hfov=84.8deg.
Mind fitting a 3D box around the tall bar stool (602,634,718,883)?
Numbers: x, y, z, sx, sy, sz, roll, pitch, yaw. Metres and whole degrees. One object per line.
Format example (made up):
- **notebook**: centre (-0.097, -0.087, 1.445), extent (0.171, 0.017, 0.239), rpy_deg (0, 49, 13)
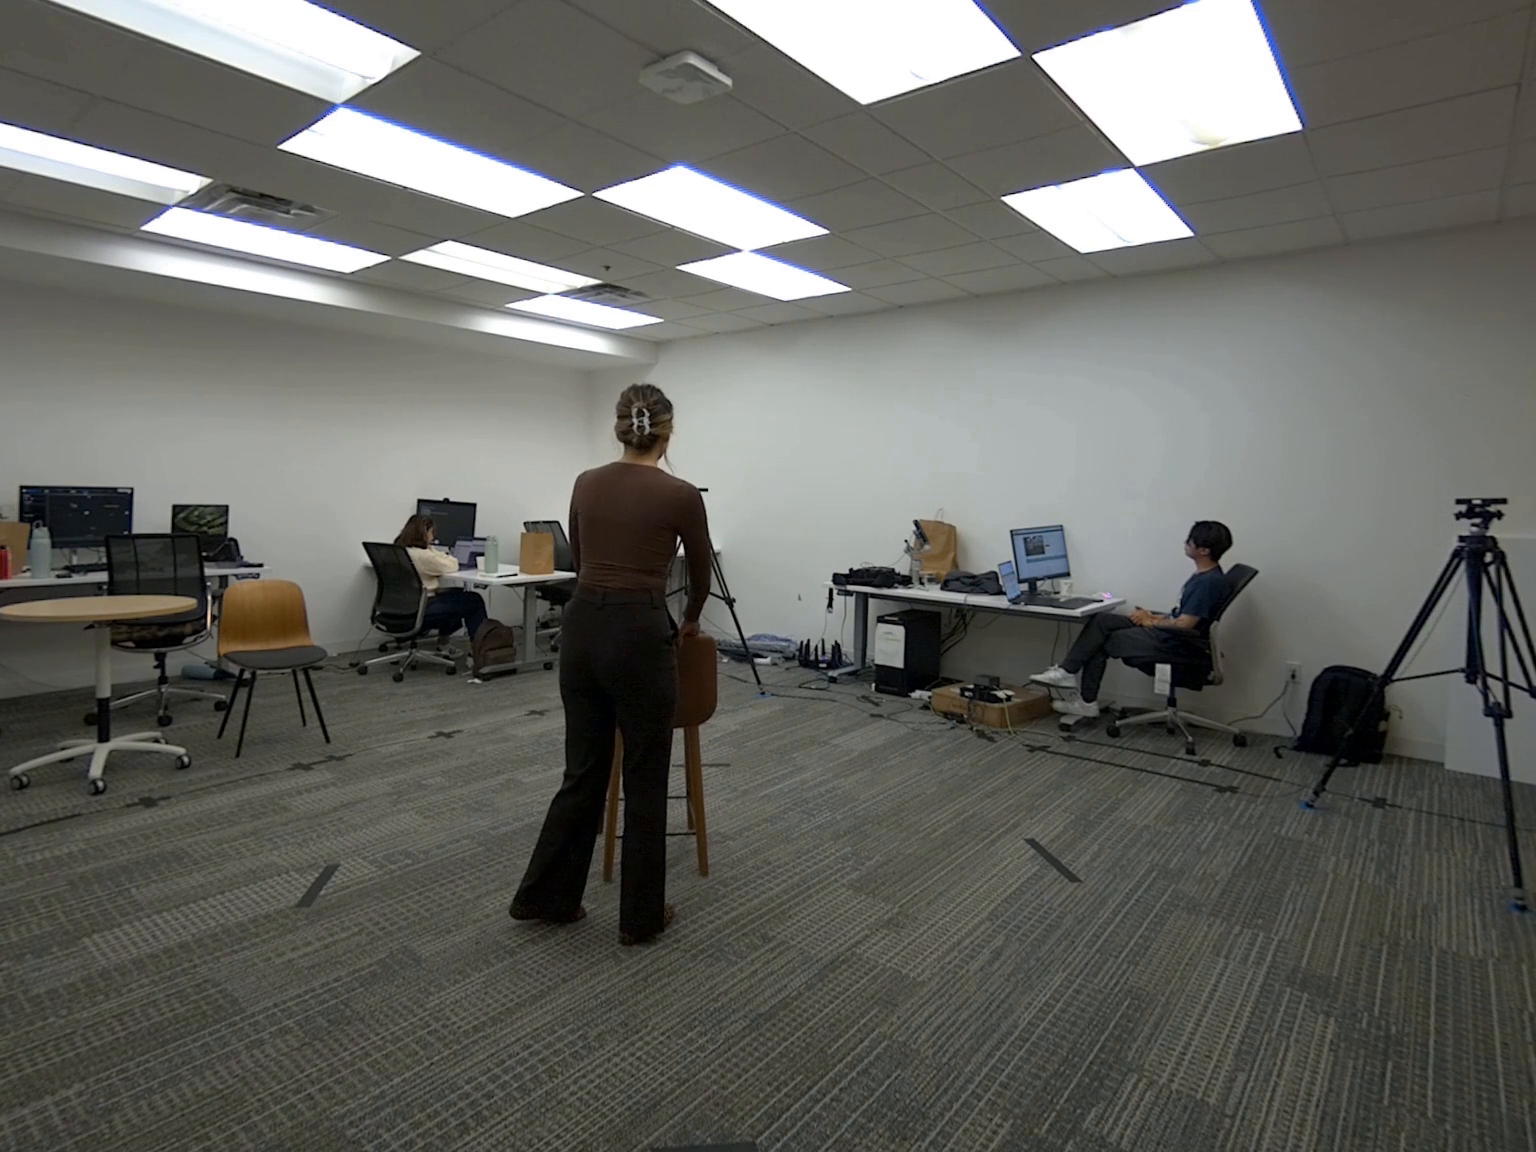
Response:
- **tall bar stool**: centre (-0.446, 0.618, 3.213), extent (0.451, 0.886, 0.476), rpy_deg (0, 5, -13)
